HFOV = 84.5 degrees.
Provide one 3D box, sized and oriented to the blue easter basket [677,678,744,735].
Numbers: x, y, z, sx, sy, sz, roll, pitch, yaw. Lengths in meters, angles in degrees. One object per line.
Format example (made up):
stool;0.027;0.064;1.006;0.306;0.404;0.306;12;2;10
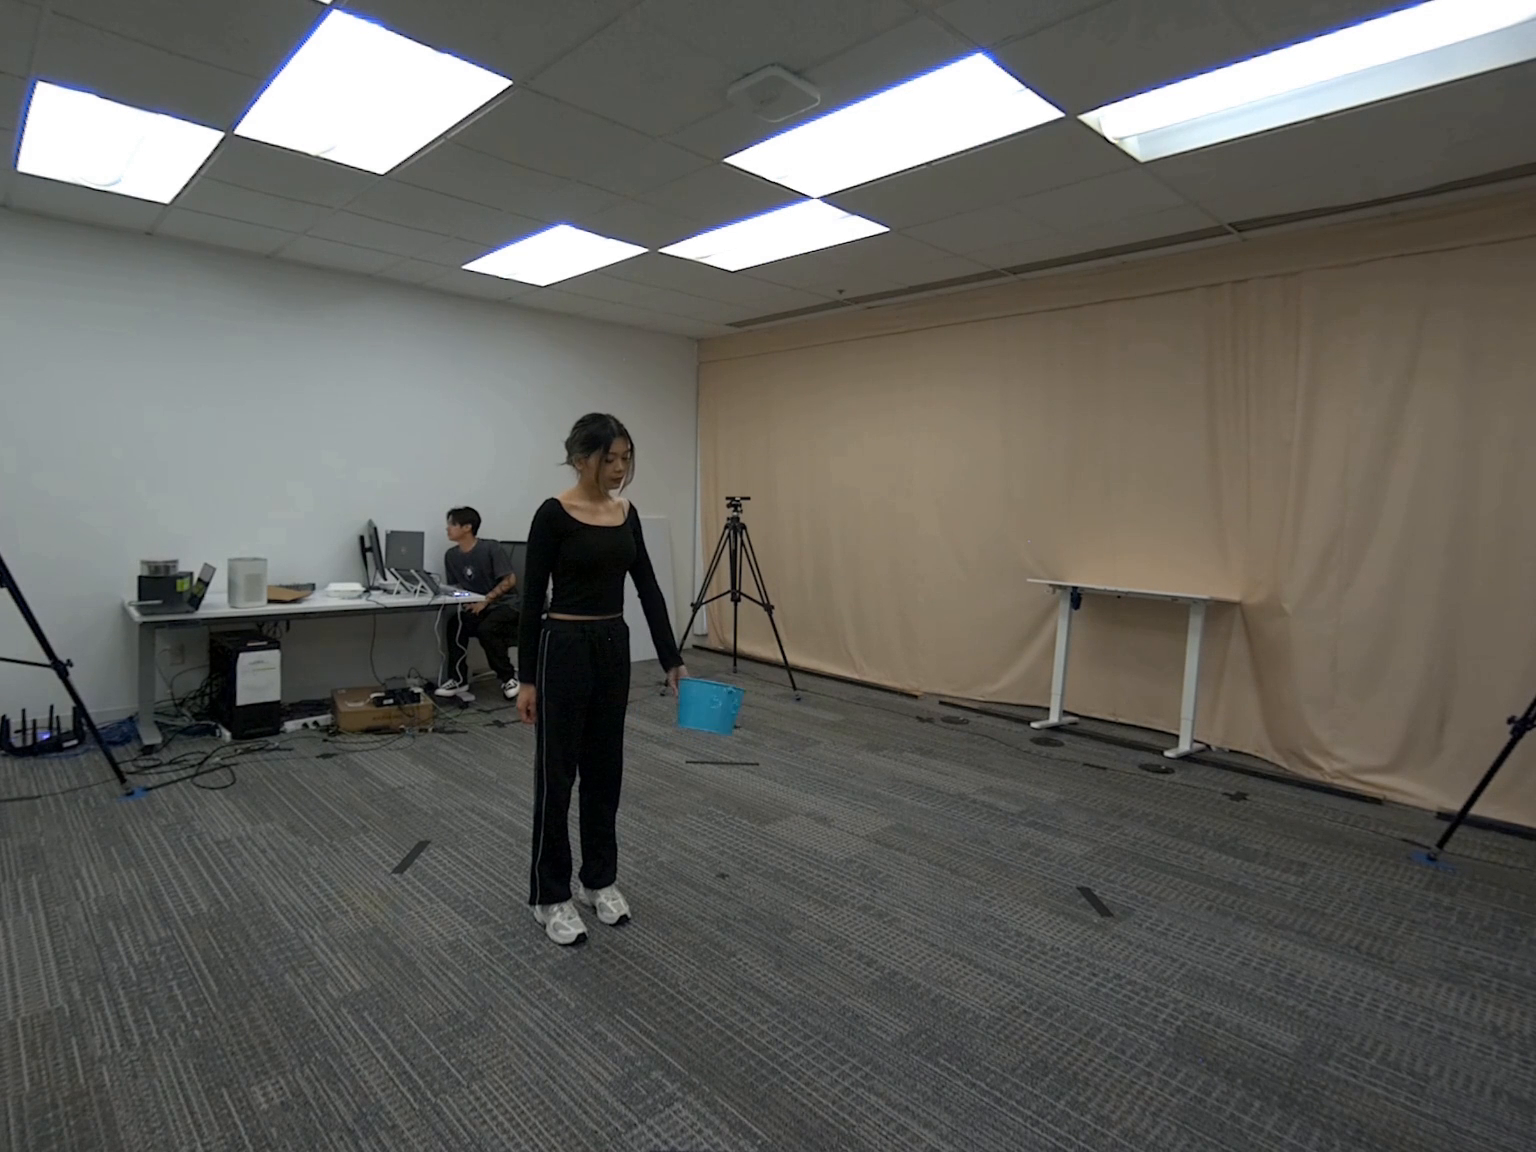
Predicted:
blue easter basket;-0.202;0.427;2.743;0.244;0.157;0.242;10;-11;1
